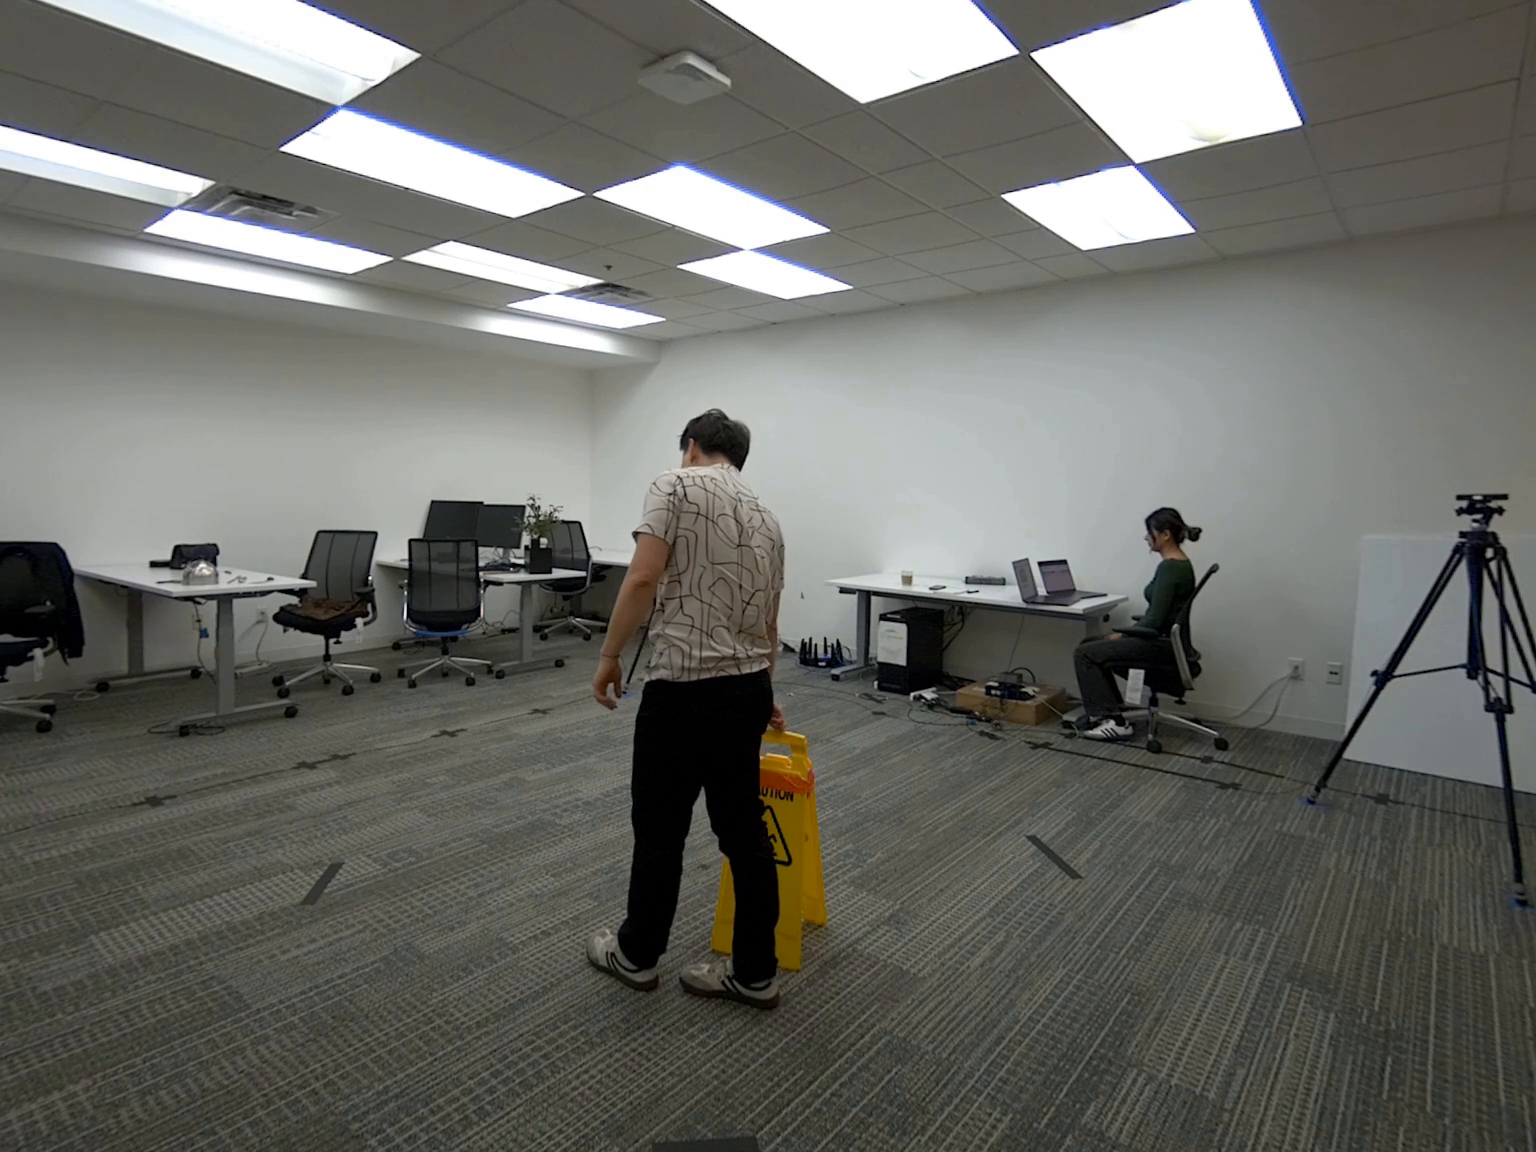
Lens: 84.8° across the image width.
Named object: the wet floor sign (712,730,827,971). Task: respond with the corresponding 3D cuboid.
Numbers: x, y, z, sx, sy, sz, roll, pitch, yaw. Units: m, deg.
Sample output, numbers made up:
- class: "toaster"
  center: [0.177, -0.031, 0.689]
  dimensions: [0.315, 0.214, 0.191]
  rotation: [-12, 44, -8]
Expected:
- class: "wet floor sign"
  center: [0.010, 0.794, 2.626]
  dimensions: [0.289, 0.645, 0.283]
  rotation: [4, 3, 22]
